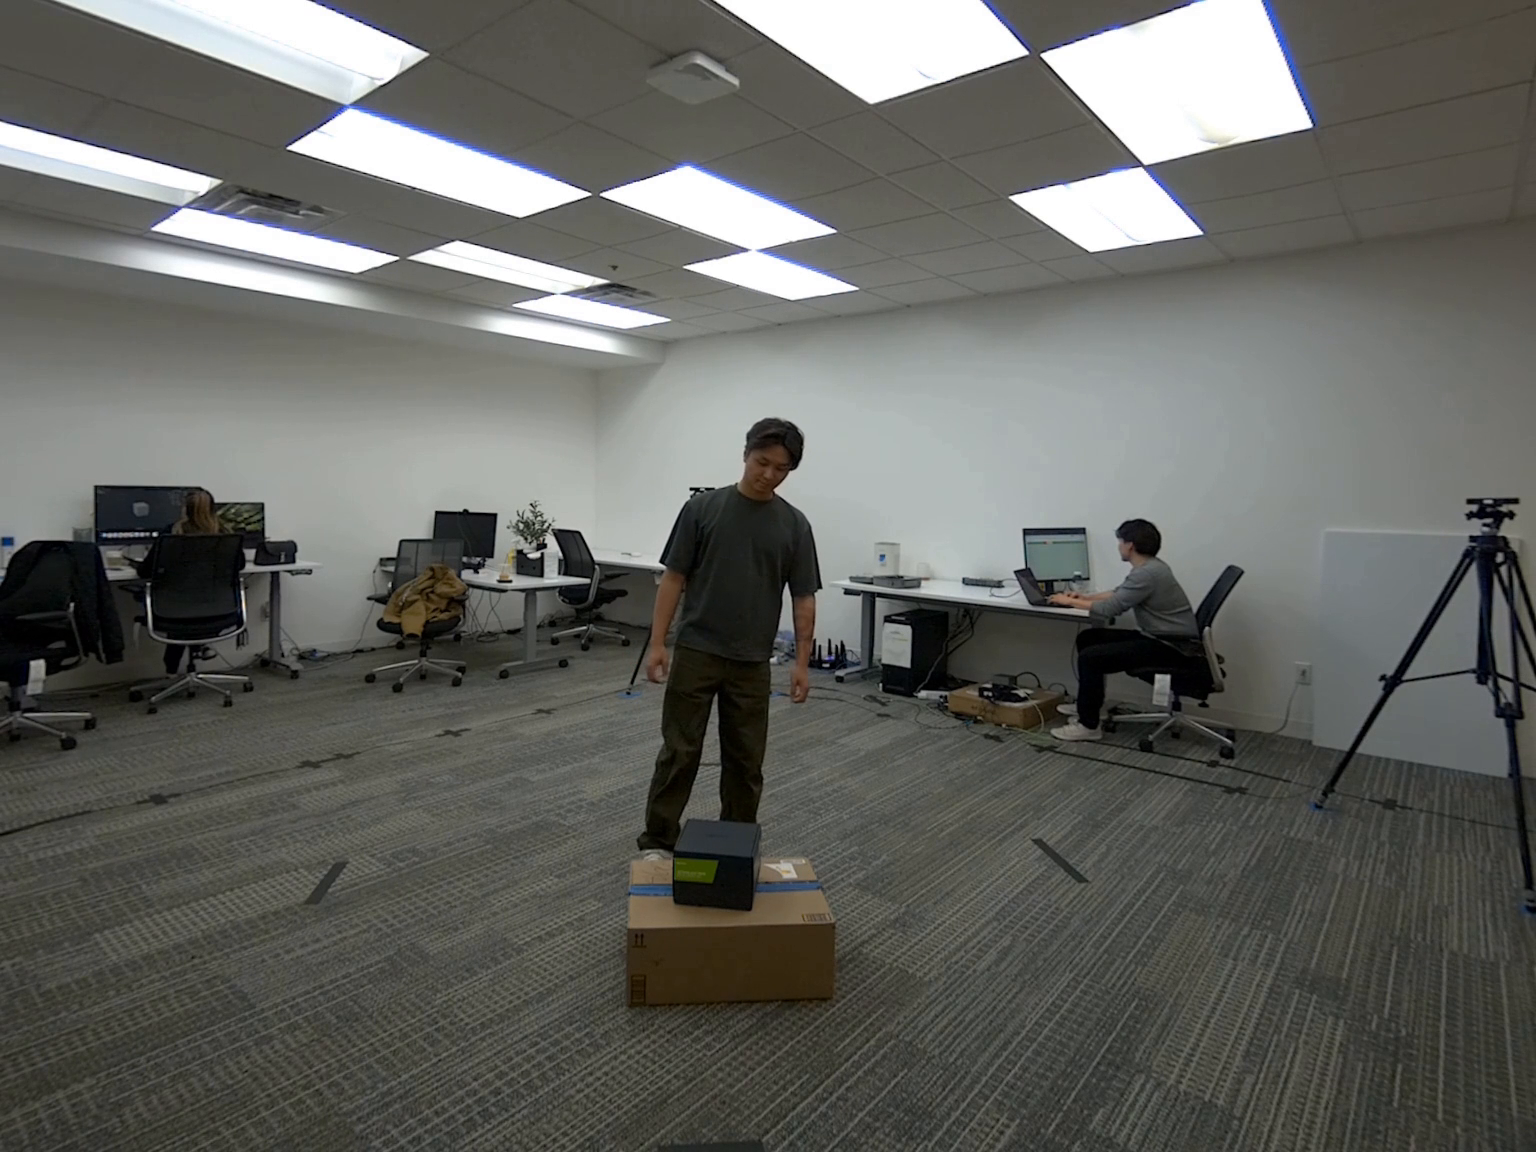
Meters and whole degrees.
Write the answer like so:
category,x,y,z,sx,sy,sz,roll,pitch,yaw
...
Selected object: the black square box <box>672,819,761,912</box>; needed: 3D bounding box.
category,x,y,z,sx,sy,sz,roll,pitch,yaw
black square box,-0.150,0.828,2.478,0.230,0.155,0.217,2,8,6
